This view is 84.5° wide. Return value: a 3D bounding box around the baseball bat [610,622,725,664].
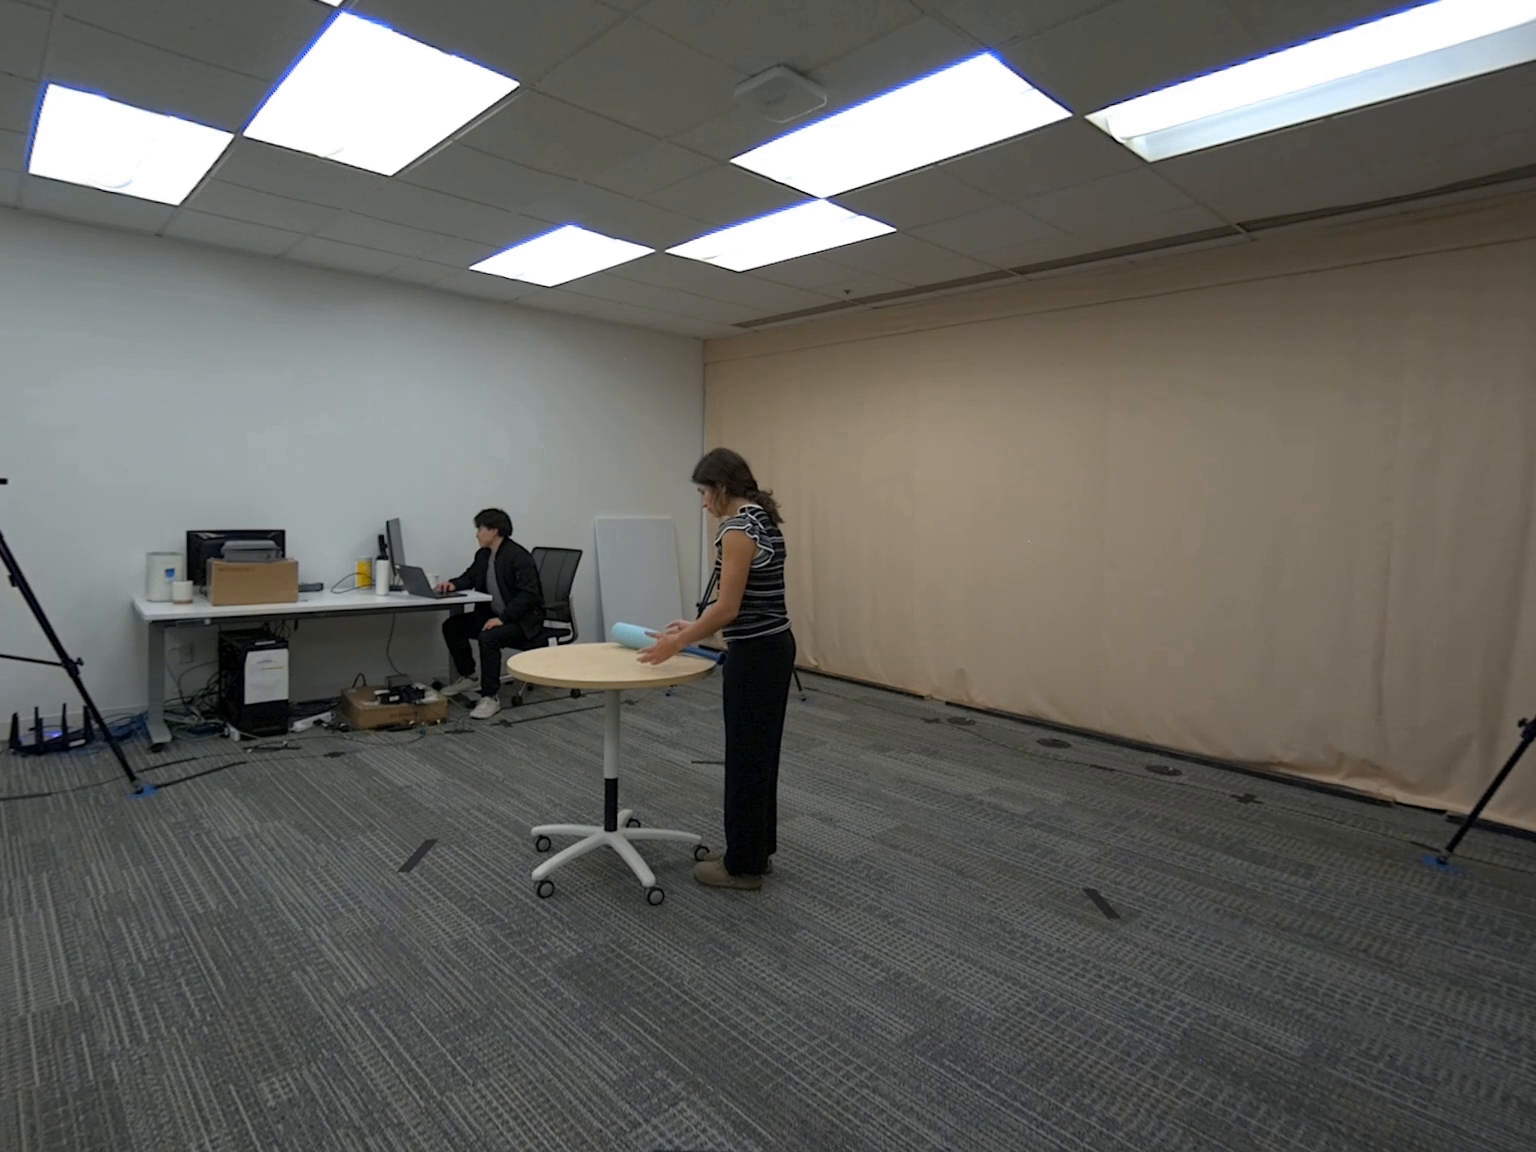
[{"bbox_3d":[-0.397,0.270,3.260,0.556,0.088,0.087,11,8,32],"label":"baseball bat"}]
